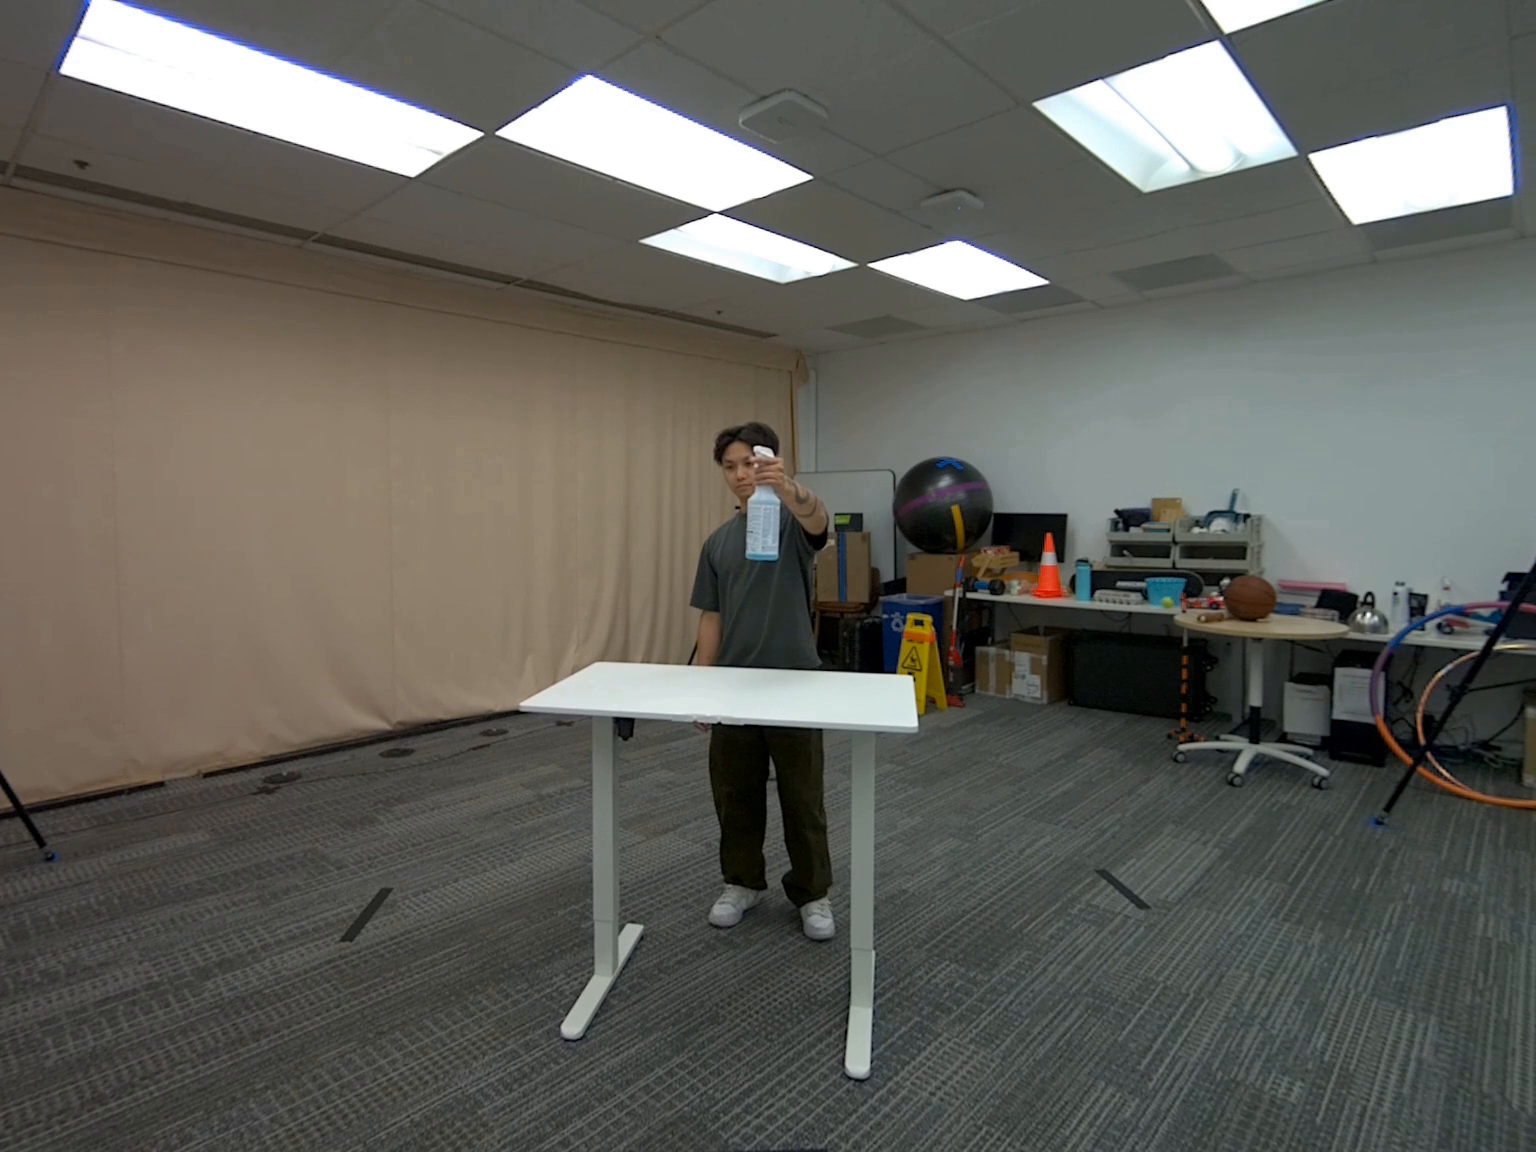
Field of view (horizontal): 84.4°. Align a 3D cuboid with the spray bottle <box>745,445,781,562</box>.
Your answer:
[{"bbox_3d":[-0.019,-0.187,2.234,0.087,0.297,0.089,0,2,-32],"label":"spray bottle"}]
